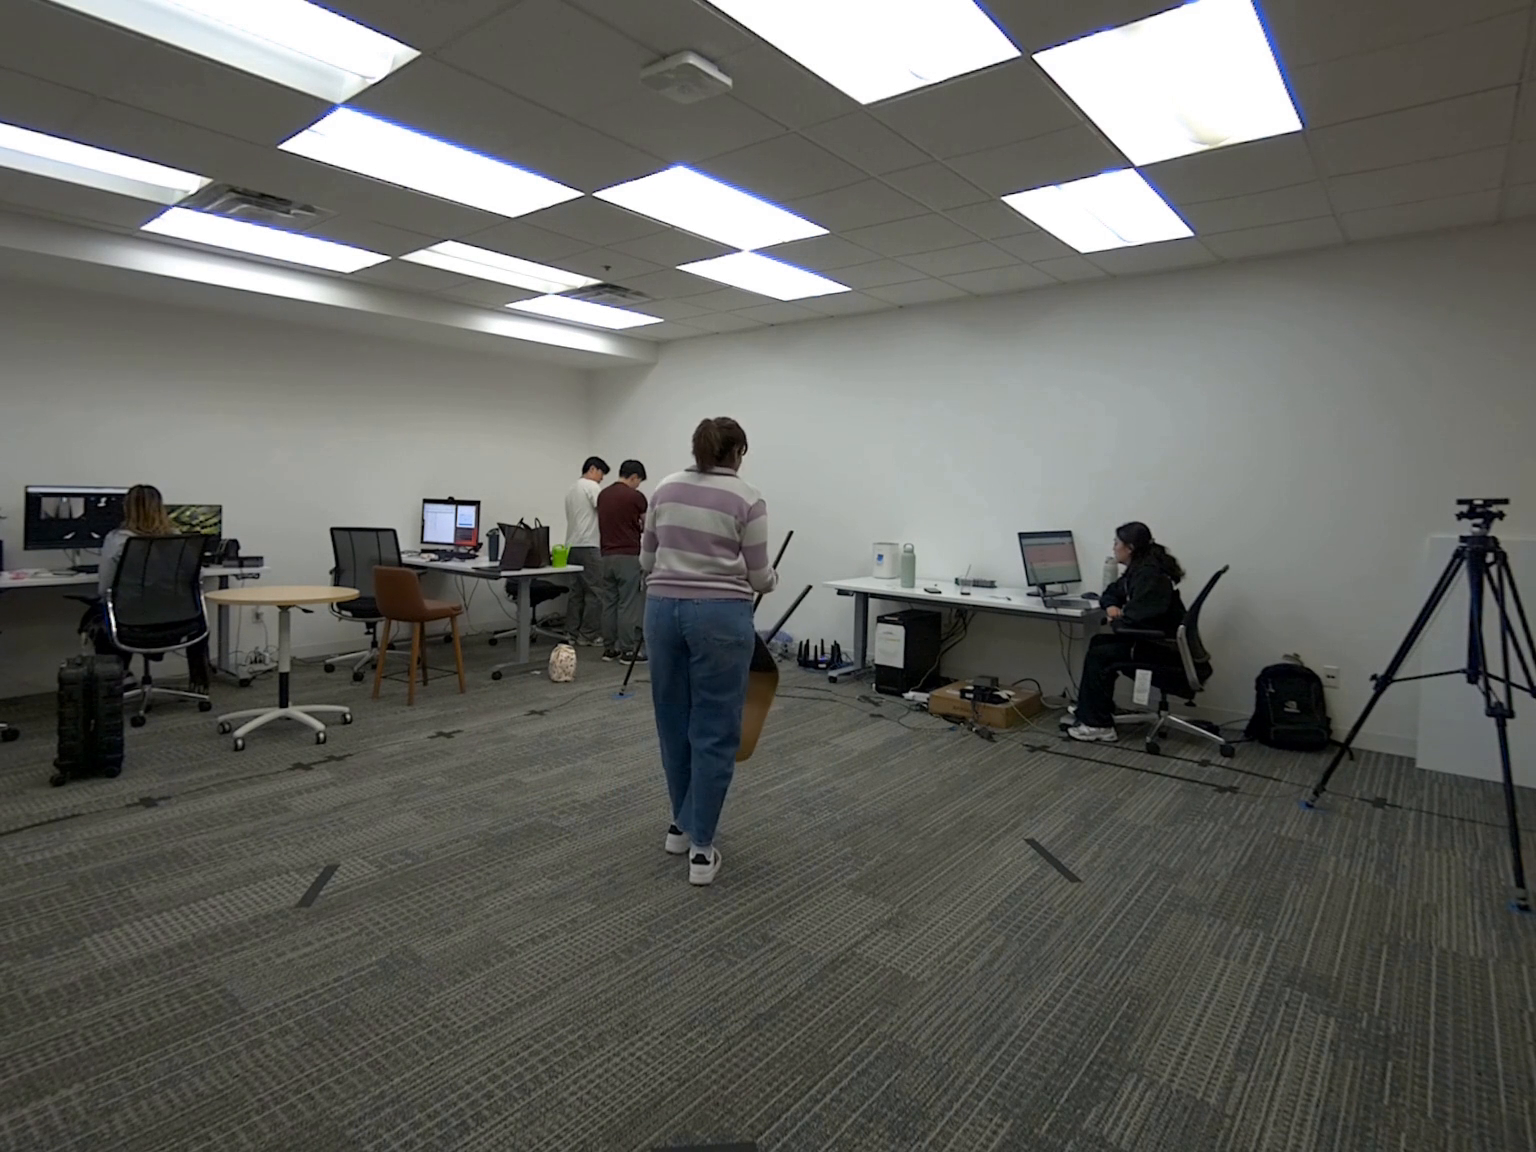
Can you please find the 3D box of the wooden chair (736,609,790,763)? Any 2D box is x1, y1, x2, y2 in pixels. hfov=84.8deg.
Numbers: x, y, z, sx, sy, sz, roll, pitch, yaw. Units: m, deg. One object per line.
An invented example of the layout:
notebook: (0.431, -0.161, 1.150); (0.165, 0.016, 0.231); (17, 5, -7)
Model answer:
wooden chair: (-0.199, 0.259, 3.491); (0.490, 0.889, 0.504); (7, -26, 21)
